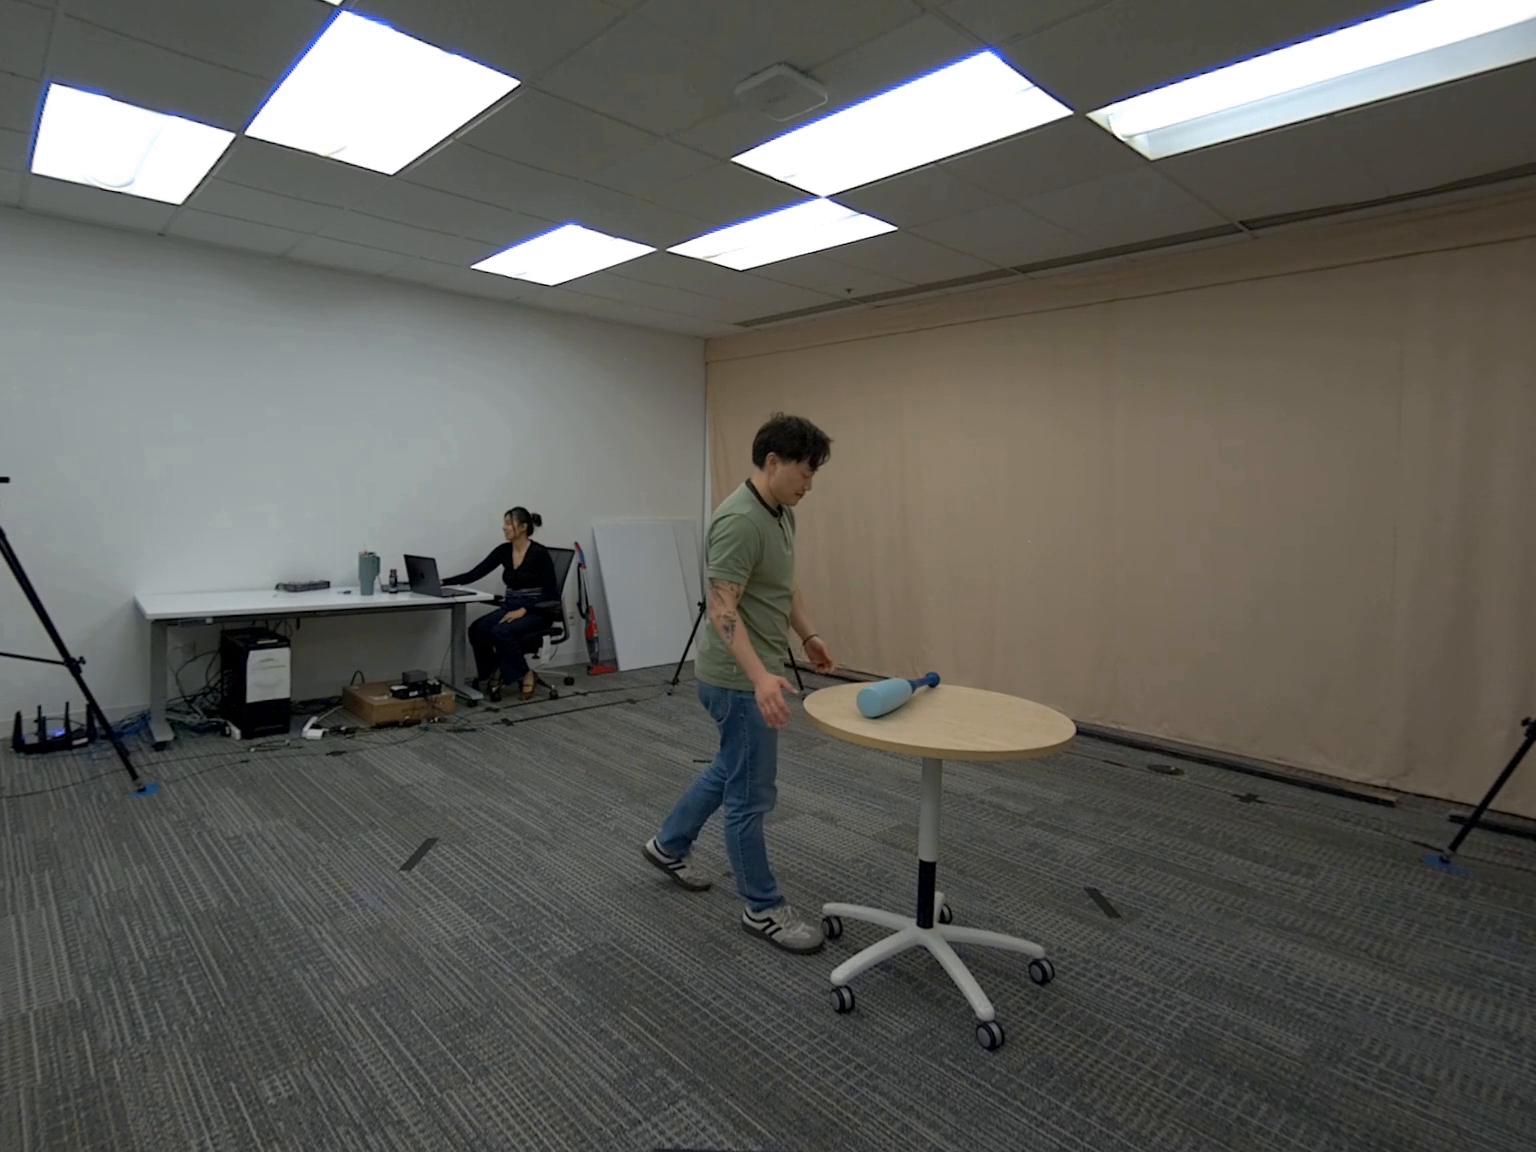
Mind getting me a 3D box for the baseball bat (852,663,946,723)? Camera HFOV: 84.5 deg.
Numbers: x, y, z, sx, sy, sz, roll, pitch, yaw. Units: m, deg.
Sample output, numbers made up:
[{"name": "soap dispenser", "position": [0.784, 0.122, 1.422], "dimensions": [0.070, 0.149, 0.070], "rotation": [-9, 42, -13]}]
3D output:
[{"name": "baseball bat", "position": [0.407, 0.344, 2.560], "dimensions": [0.091, 0.089, 0.532], "rotation": [4, 3, 30]}]
